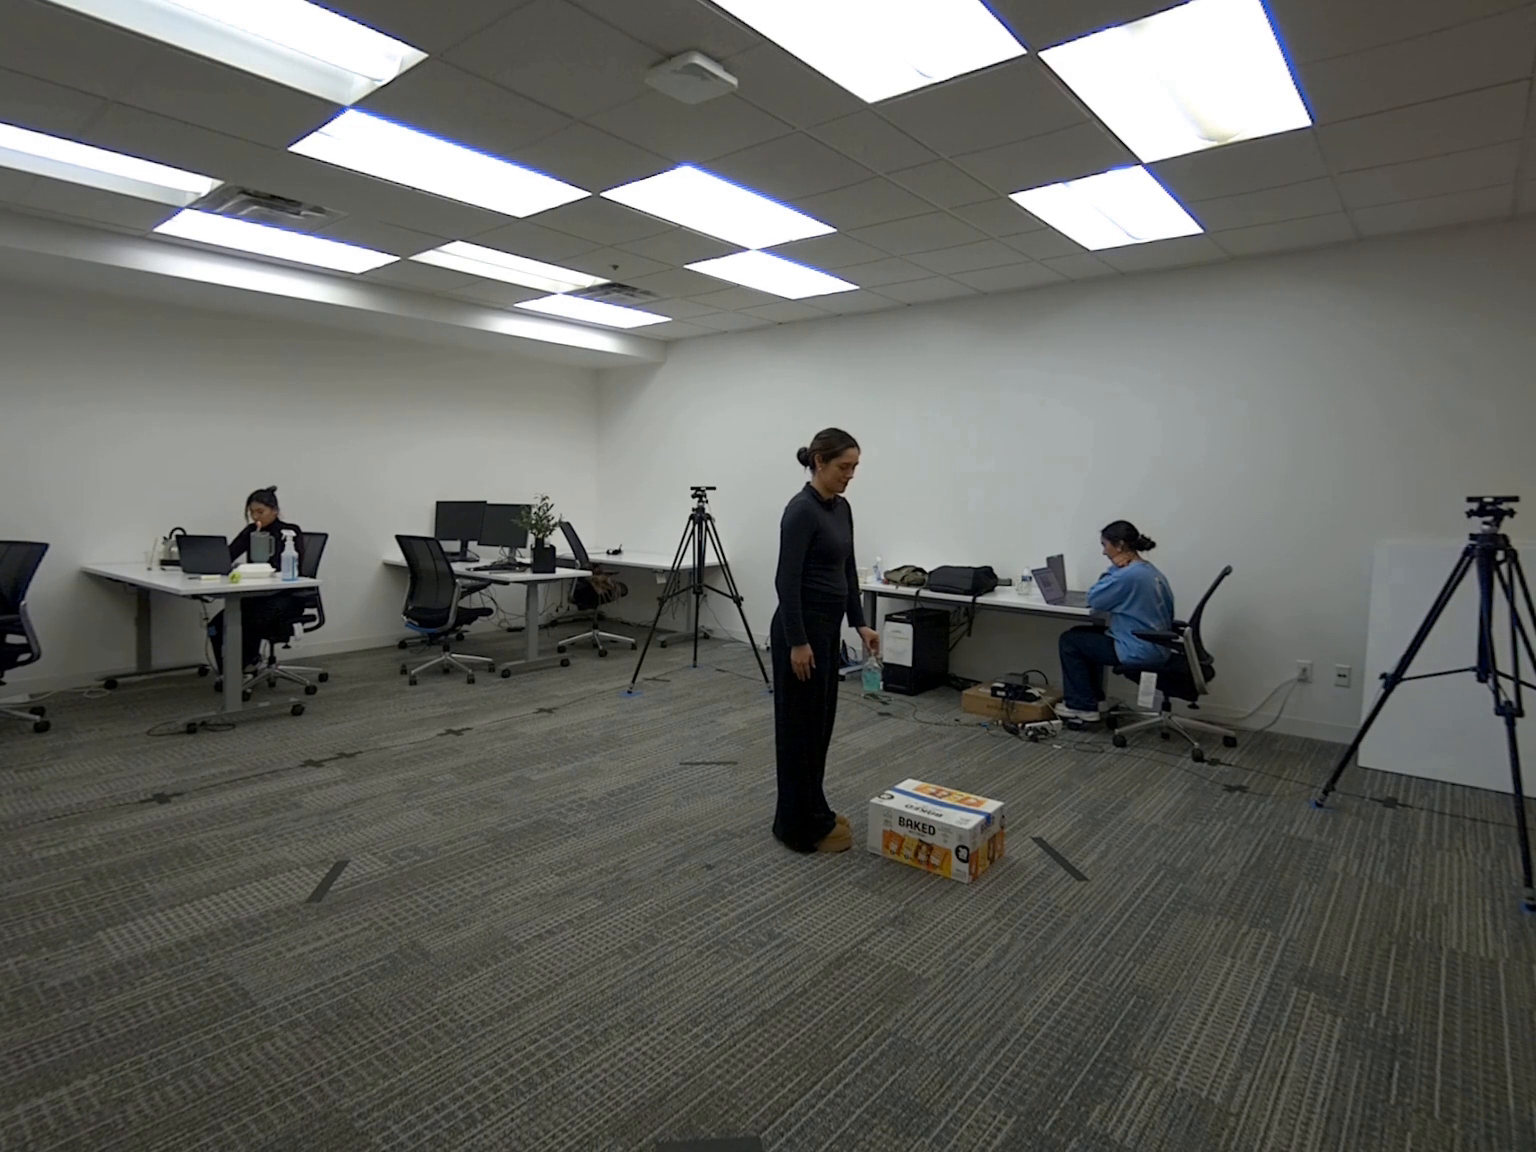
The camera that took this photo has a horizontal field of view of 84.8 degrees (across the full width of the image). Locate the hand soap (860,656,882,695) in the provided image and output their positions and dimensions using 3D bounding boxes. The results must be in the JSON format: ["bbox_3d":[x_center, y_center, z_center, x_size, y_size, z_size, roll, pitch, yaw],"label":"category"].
[{"bbox_3d":[0.414,0.384,3.464,0.087,0.168,0.042,3,1,37],"label":"hand soap"}]
